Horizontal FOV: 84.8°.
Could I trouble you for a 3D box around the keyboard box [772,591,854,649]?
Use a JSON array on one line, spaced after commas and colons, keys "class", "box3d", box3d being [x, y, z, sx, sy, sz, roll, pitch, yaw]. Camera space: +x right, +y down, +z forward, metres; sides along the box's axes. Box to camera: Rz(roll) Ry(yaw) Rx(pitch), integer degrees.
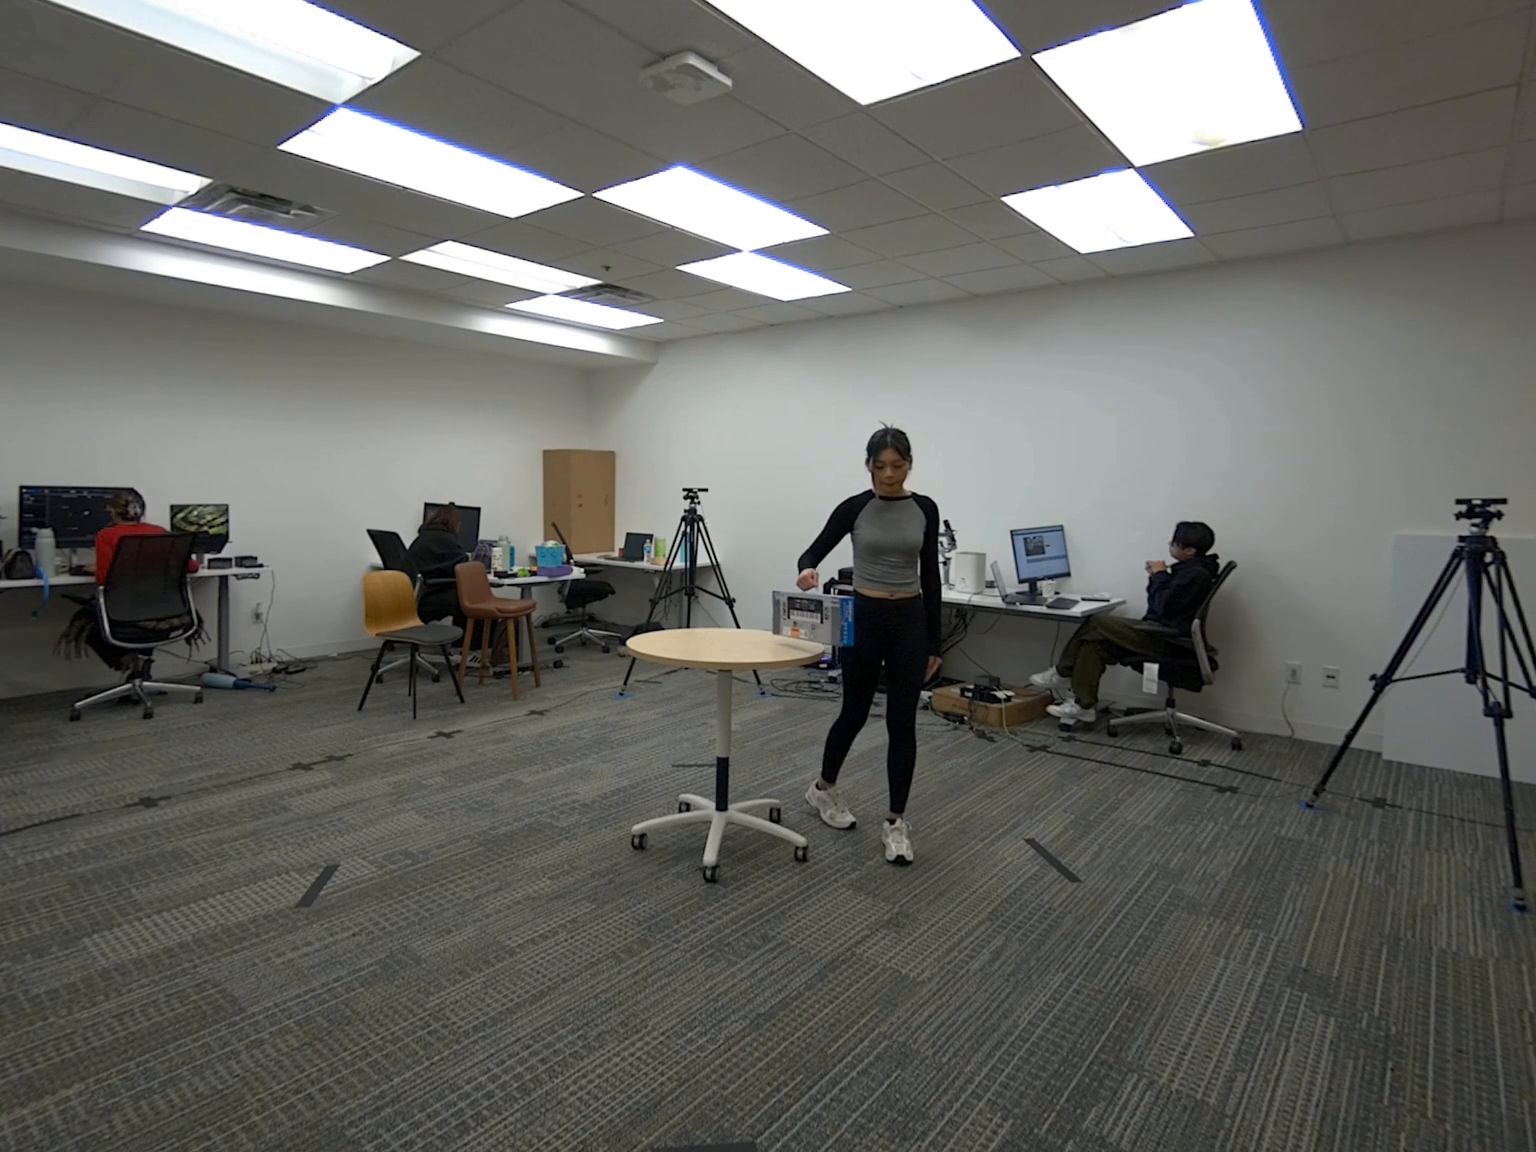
[{"class": "keyboard box", "box3d": [0.150, 0.149, 3.151, 0.057, 0.176, 0.449, -1, 3, -32]}]
